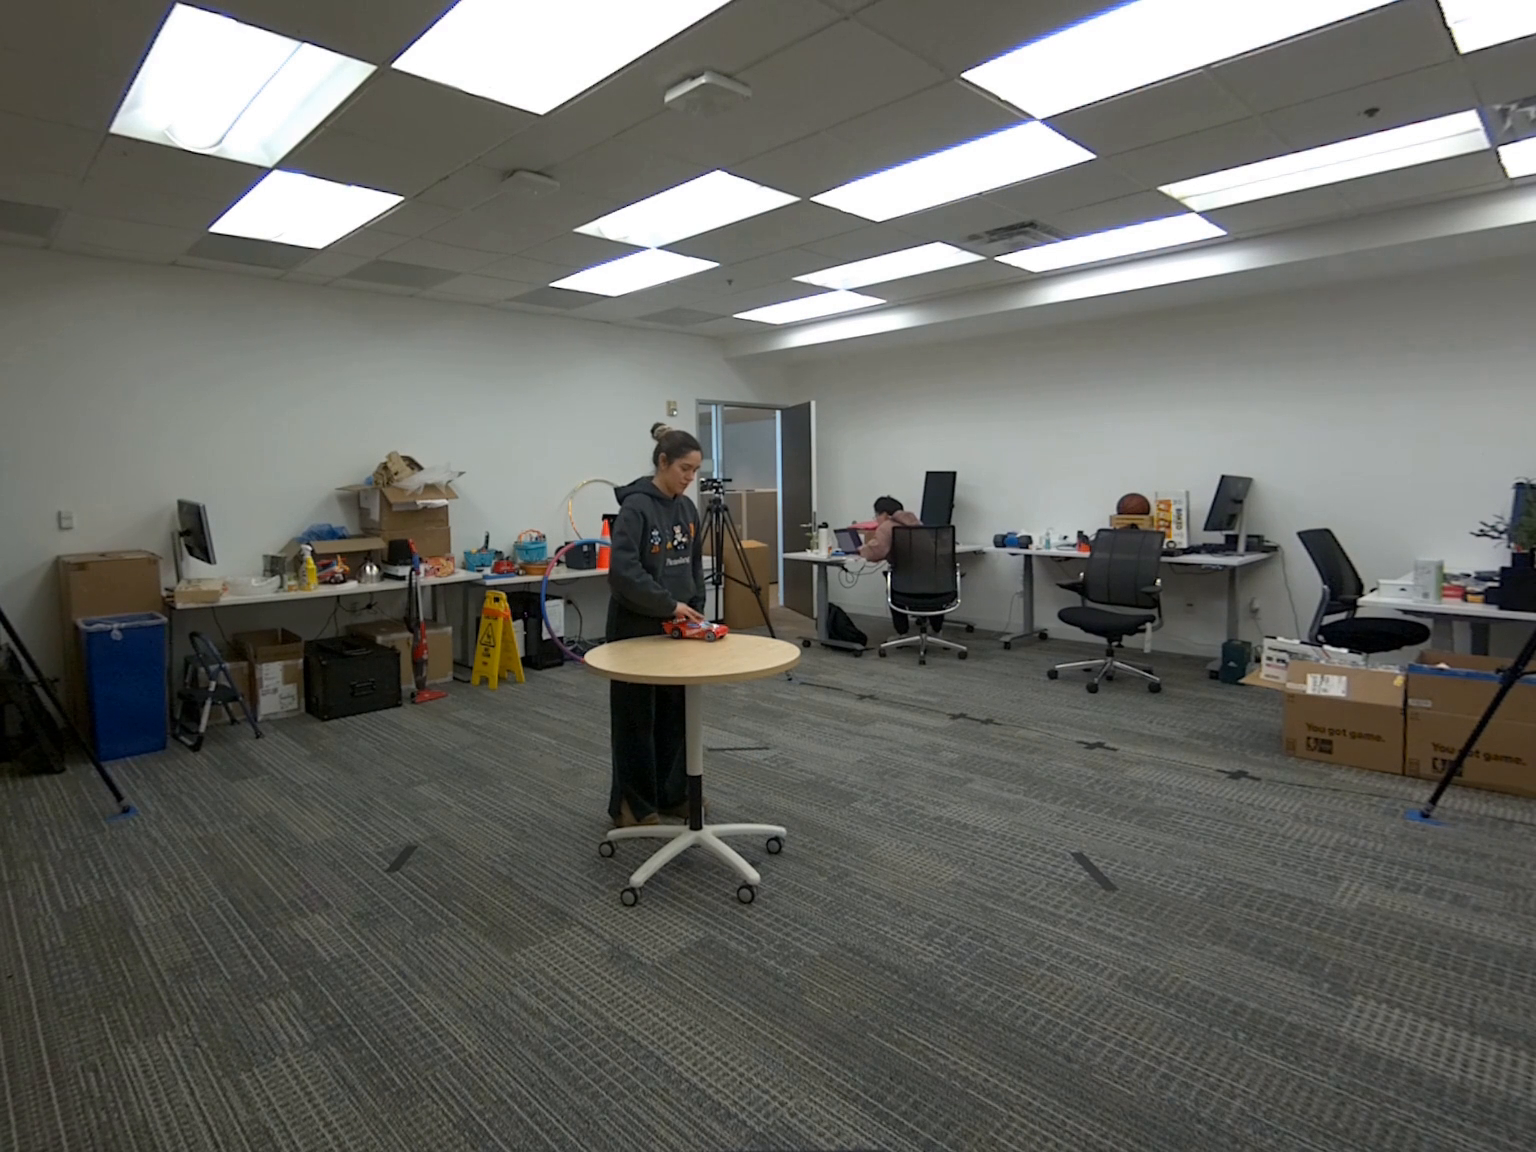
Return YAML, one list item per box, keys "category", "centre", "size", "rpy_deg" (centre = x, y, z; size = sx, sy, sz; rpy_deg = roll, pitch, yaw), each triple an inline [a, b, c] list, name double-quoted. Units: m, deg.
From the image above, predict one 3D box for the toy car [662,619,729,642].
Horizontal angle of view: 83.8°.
- category: "toy car"
  centre: [-0.287, 0.214, 3.312]
  size: [0.261, 0.083, 0.128]
  rpy_deg: [13, 10, 24]
